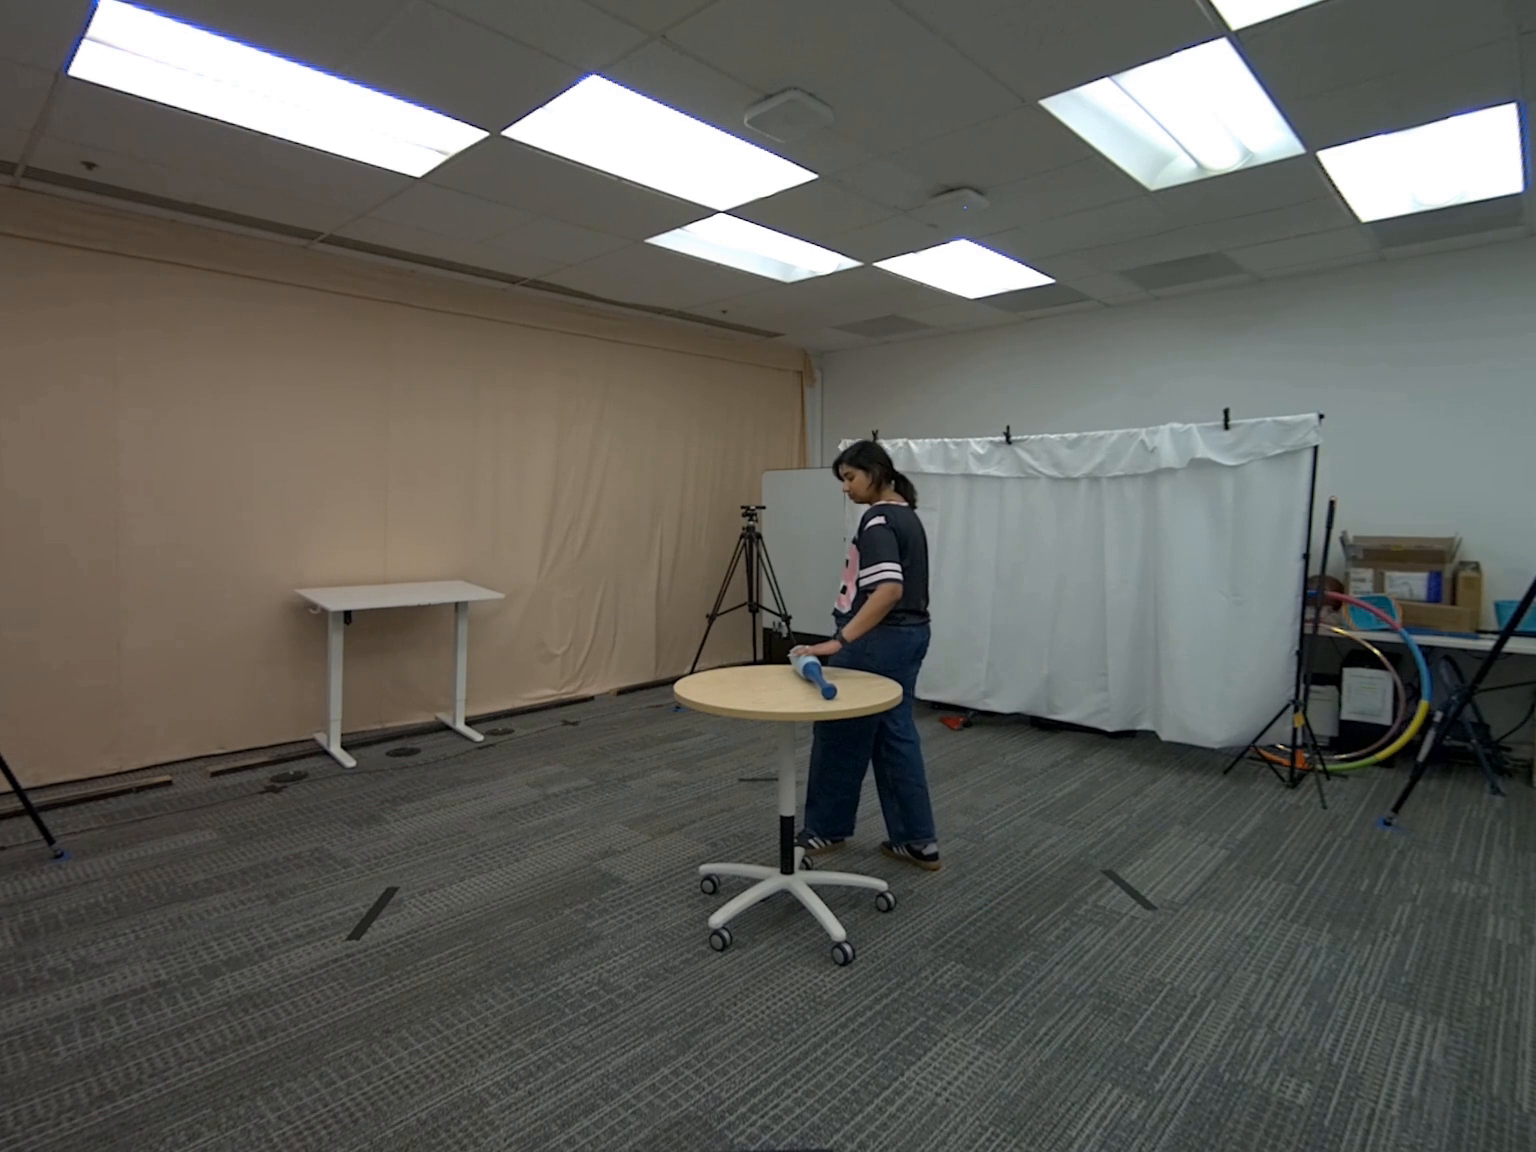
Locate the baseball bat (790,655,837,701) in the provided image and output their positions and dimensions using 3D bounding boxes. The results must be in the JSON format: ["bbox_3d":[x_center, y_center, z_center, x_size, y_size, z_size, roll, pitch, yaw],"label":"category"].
[{"bbox_3d":[0.156,0.333,2.878,0.088,0.089,0.548,-1,7,-6],"label":"baseball bat"}]
